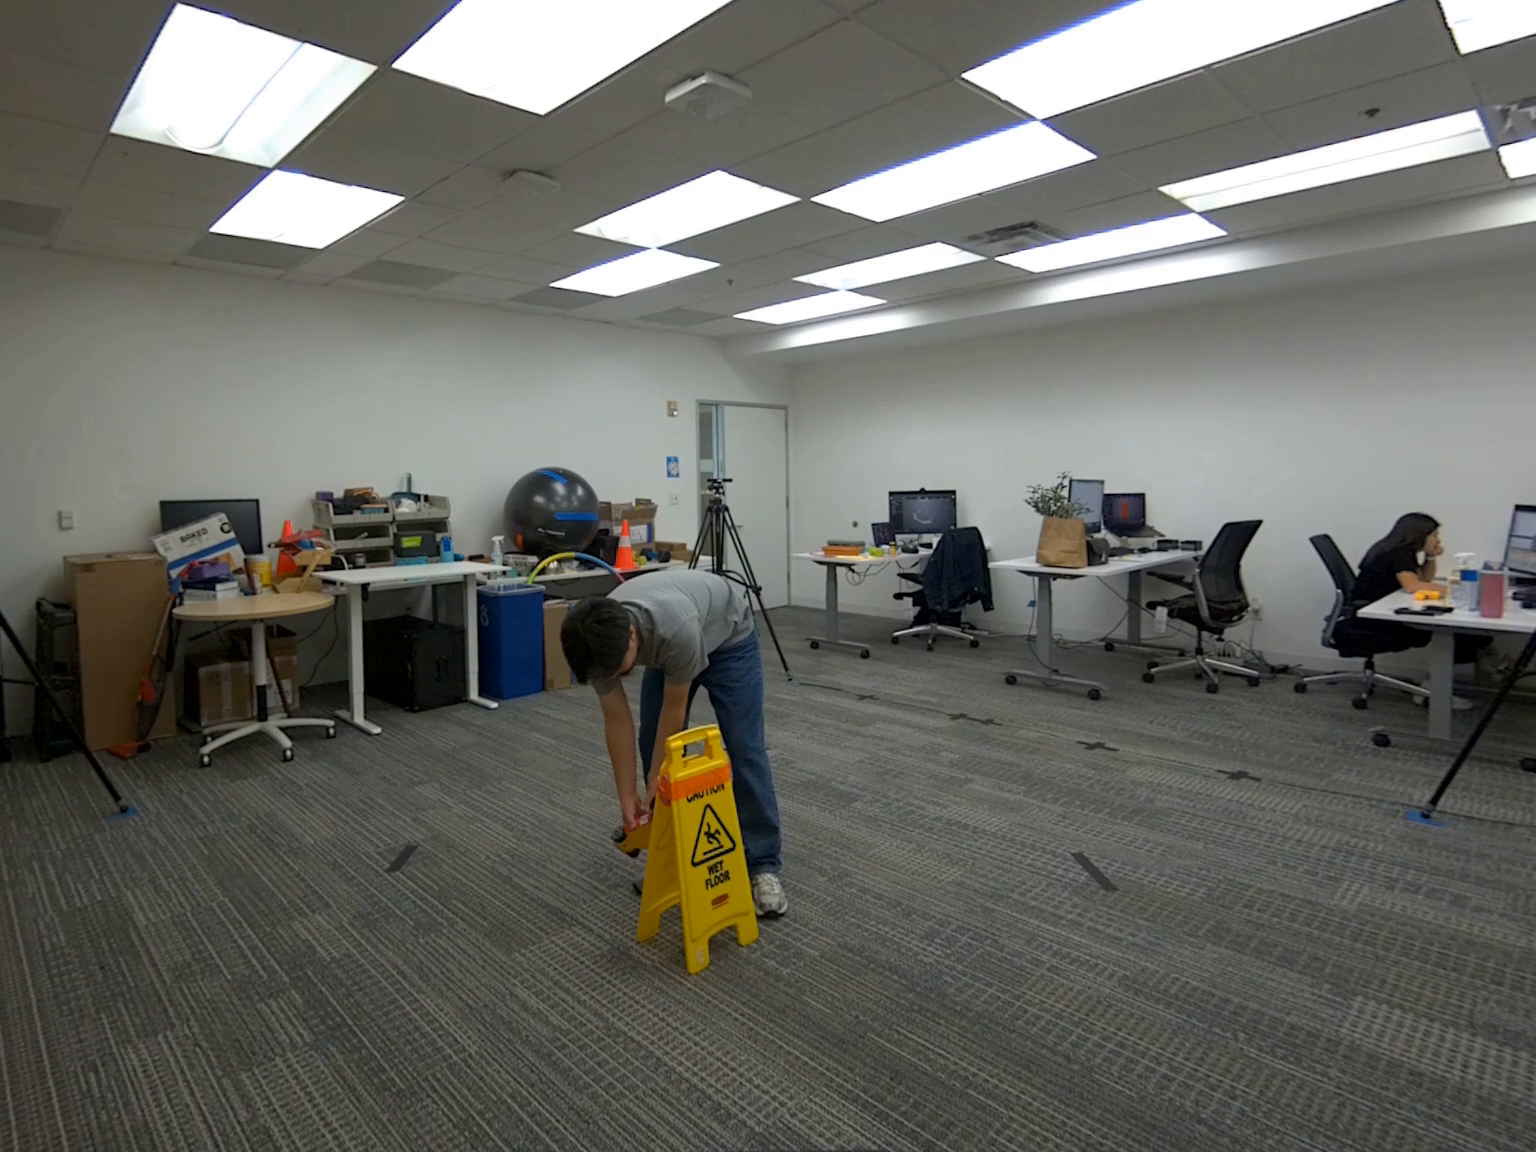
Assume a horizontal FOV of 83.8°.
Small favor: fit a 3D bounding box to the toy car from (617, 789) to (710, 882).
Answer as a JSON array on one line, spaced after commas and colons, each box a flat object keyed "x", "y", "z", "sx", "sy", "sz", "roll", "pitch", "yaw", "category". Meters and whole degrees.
[{"x": -0.333, "y": 0.822, "z": 2.720, "sx": 0.254, "sy": 0.126, "sz": 0.086, "roll": -40, "pitch": 31, "yaw": -7, "category": "toy car"}]
